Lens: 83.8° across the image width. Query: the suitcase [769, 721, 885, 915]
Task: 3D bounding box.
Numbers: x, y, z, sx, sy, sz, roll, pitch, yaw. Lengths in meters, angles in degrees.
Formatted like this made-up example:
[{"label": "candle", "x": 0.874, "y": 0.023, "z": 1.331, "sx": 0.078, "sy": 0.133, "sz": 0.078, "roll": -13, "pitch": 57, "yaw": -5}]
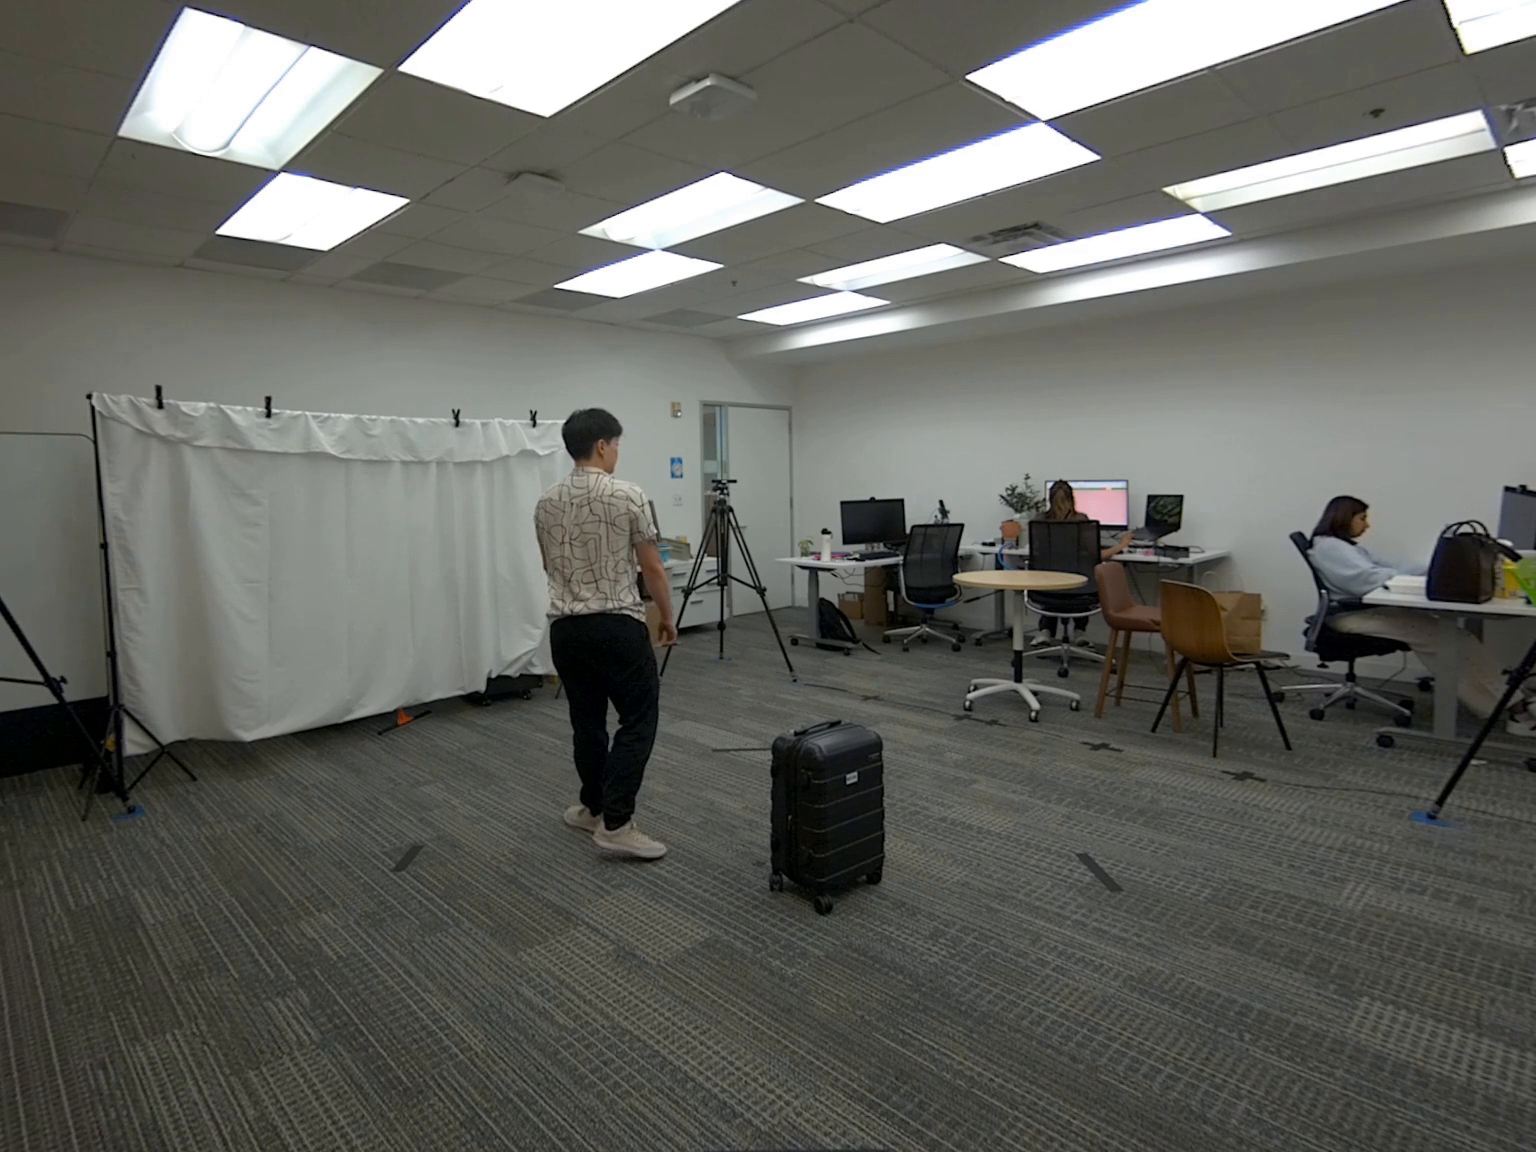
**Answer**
[{"label": "suitcase", "x": 0.209, "y": 0.785, "z": 2.928, "sx": 0.365, "sy": 0.547, "sz": 0.256, "roll": -3, "pitch": 5, "yaw": -41}]
